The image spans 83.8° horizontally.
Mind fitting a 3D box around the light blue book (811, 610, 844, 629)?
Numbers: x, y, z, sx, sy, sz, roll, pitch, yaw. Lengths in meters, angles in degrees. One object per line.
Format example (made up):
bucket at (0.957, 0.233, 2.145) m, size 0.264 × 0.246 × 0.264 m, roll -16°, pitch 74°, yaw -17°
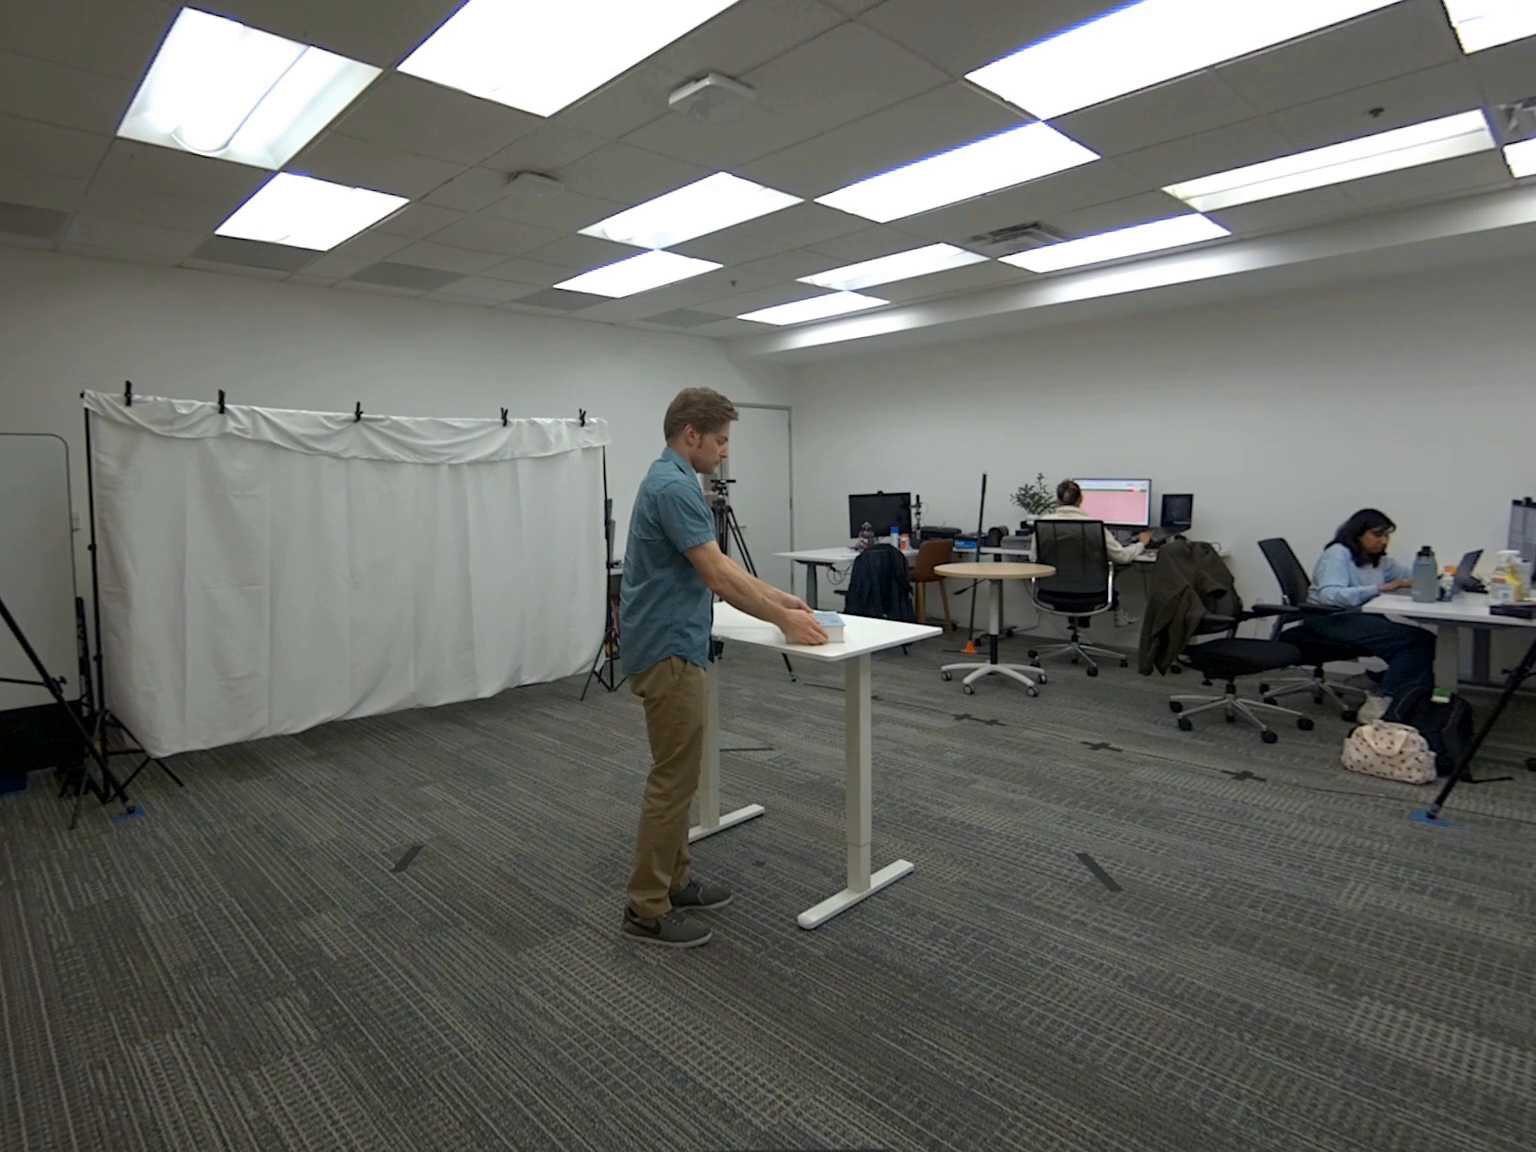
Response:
light blue book at (0.158, 0.173, 2.795) m, size 0.191 × 0.059 × 0.263 m, roll -2°, pitch 7°, yaw -2°
